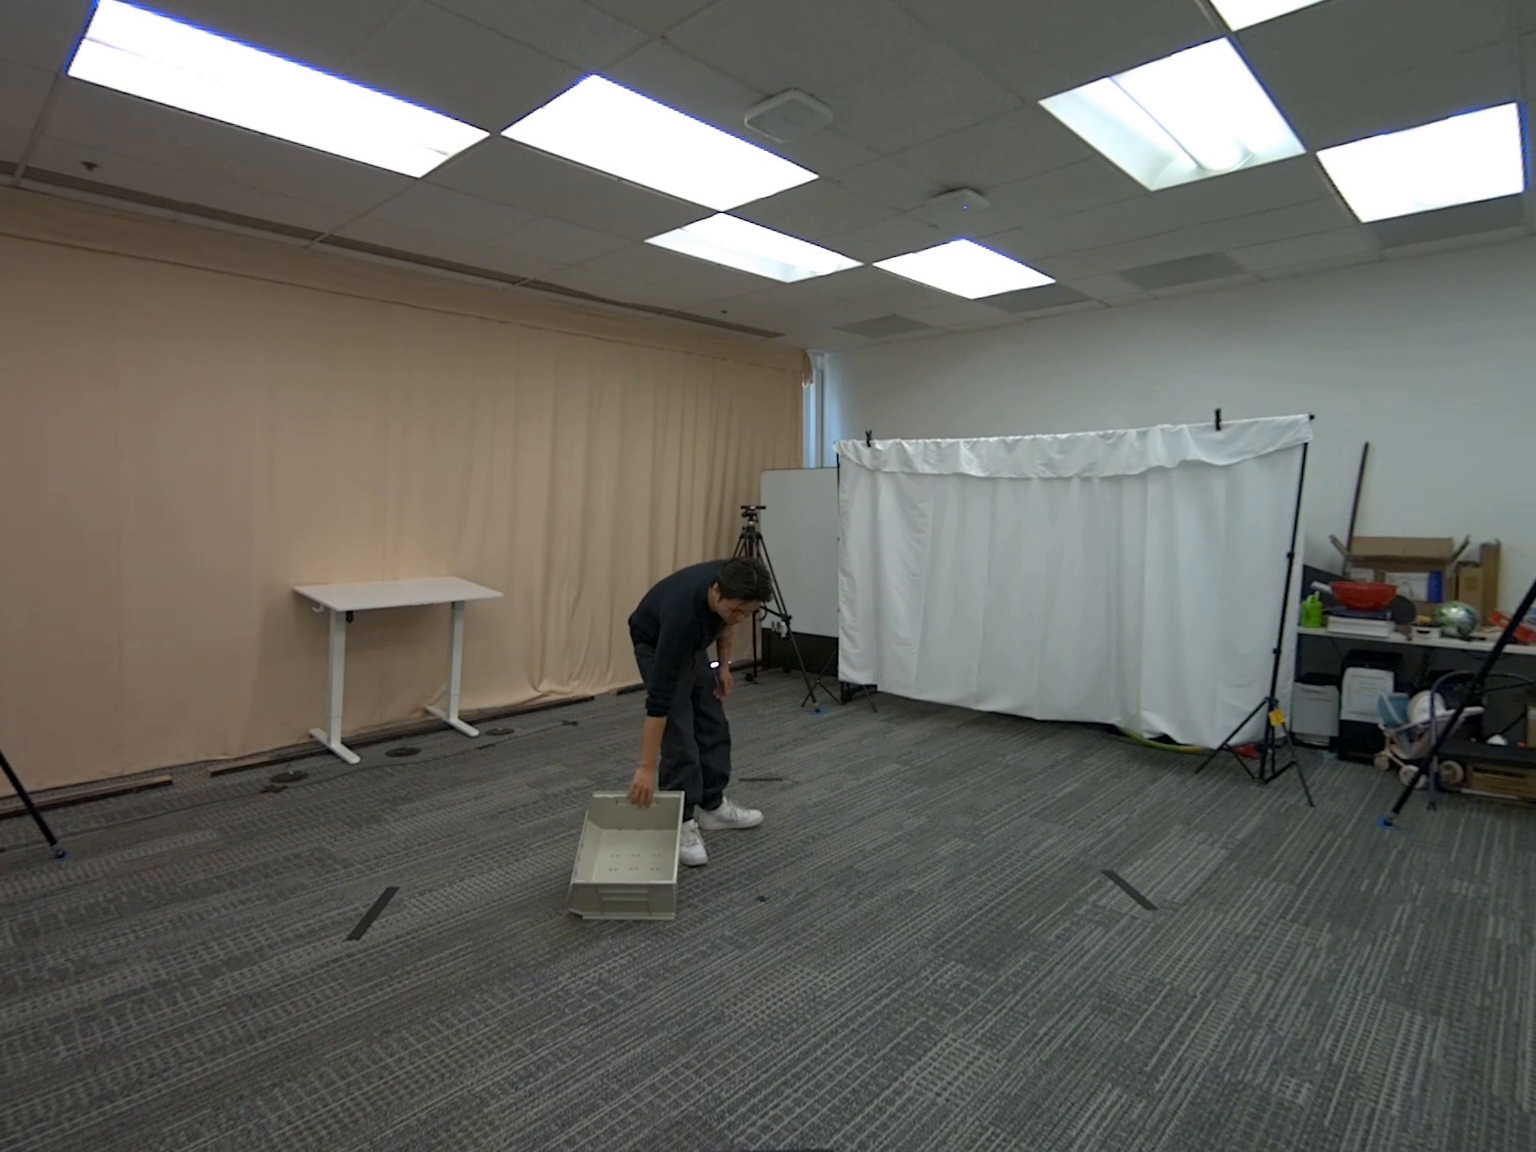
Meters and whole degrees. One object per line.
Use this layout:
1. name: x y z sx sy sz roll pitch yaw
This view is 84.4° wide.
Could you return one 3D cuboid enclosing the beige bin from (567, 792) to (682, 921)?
1. beige bin: -0.492 0.974 2.978 0.377 0.186 0.428 0 26 -1
